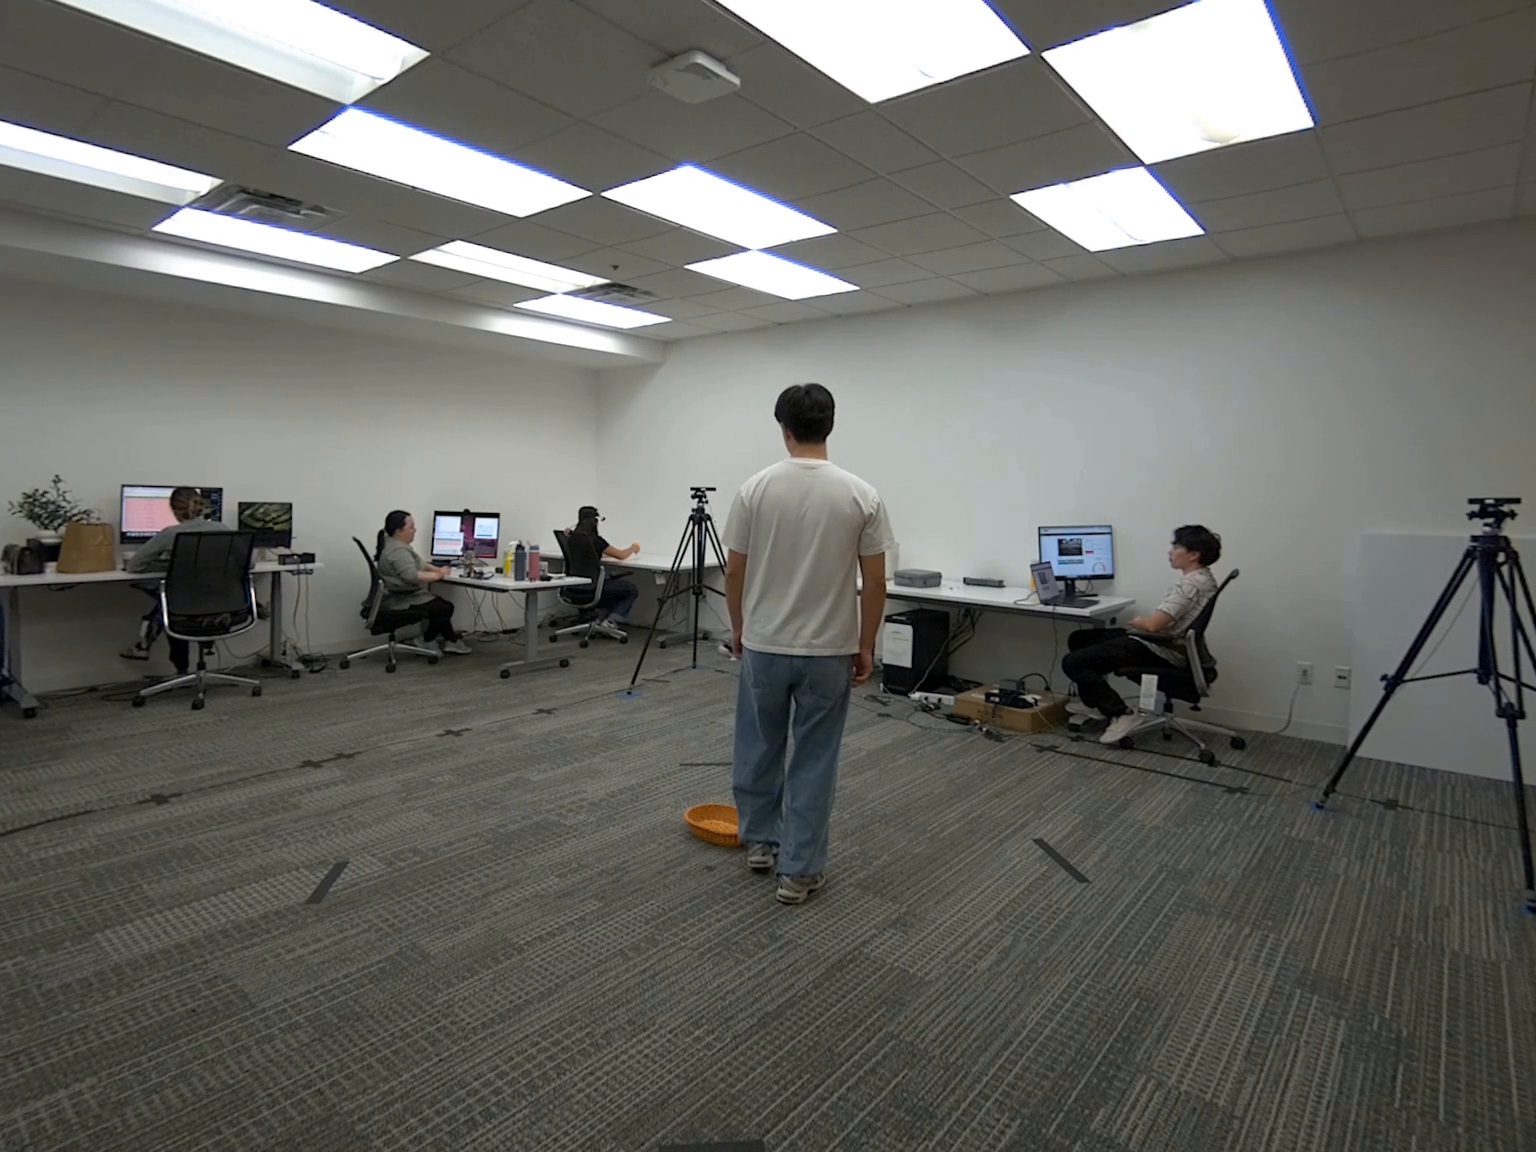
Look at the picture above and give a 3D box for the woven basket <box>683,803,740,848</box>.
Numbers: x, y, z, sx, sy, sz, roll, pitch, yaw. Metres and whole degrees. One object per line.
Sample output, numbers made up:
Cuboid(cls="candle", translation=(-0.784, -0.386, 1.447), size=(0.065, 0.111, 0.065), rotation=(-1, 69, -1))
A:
Cuboid(cls="woven basket", translation=(-0.196, 0.994, 3.420), size=(0.362, 0.073, 0.245), rotation=(5, 7, 37))
